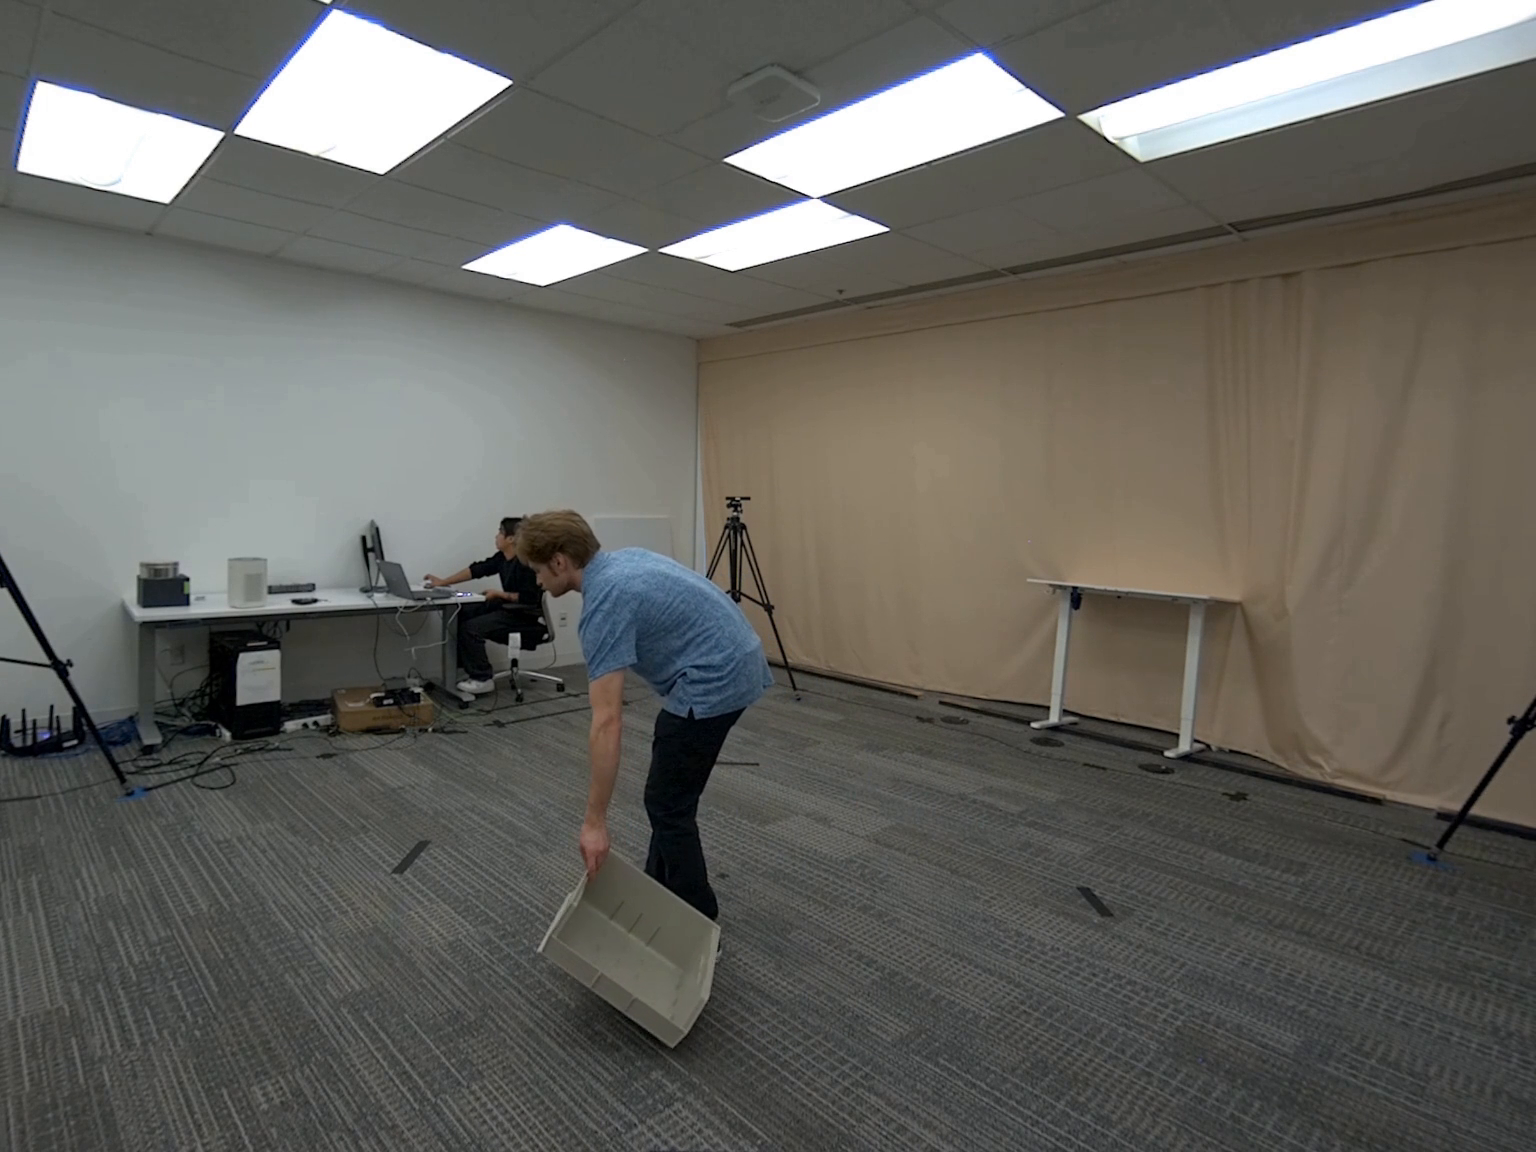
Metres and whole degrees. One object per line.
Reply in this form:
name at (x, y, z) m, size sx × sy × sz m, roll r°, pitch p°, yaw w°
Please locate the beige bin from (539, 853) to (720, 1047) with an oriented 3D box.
beige bin at (-0.373, 0.999, 2.255) m, size 0.422 × 0.189 × 0.378 m, roll 34°, pitch 5°, yaw -1°
